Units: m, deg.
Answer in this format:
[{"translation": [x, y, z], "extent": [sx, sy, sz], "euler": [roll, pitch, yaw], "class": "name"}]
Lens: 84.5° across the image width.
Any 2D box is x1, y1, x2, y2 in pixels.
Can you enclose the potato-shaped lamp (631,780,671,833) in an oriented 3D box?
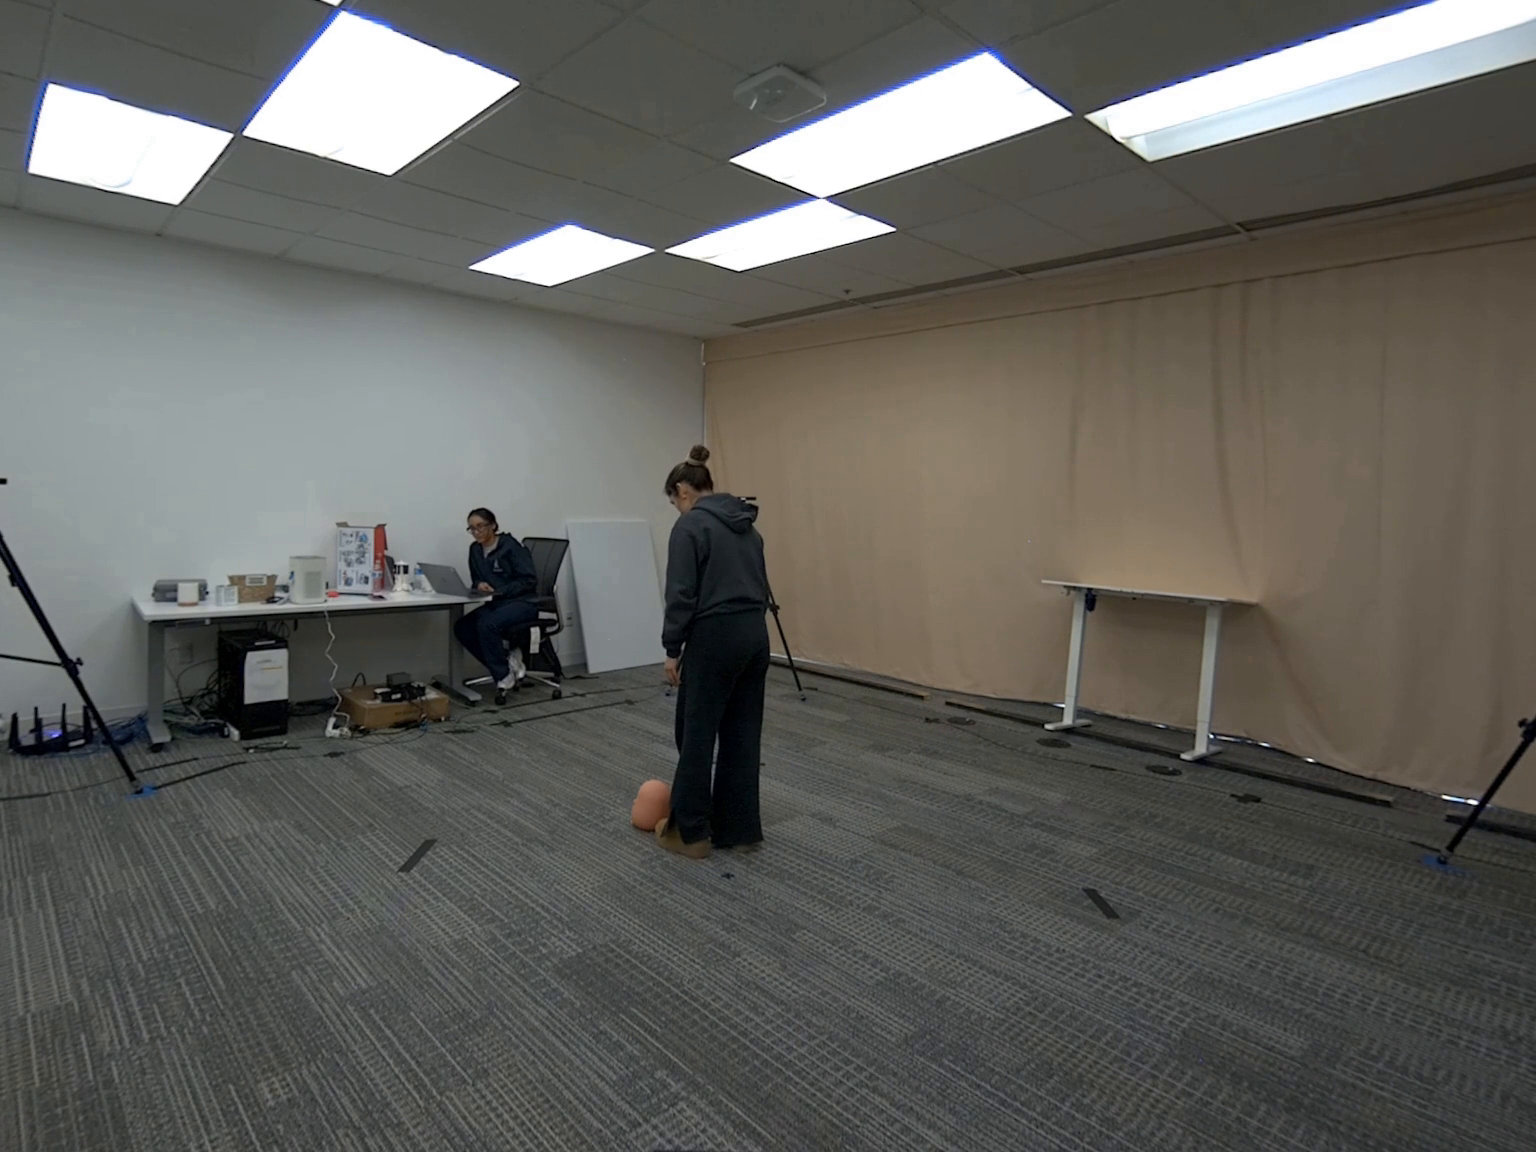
[{"translation": [-0.498, 0.956, 3.560], "extent": [0.176, 0.197, 0.161], "euler": [5, 6, 40], "class": "potato-shaped lamp"}]
